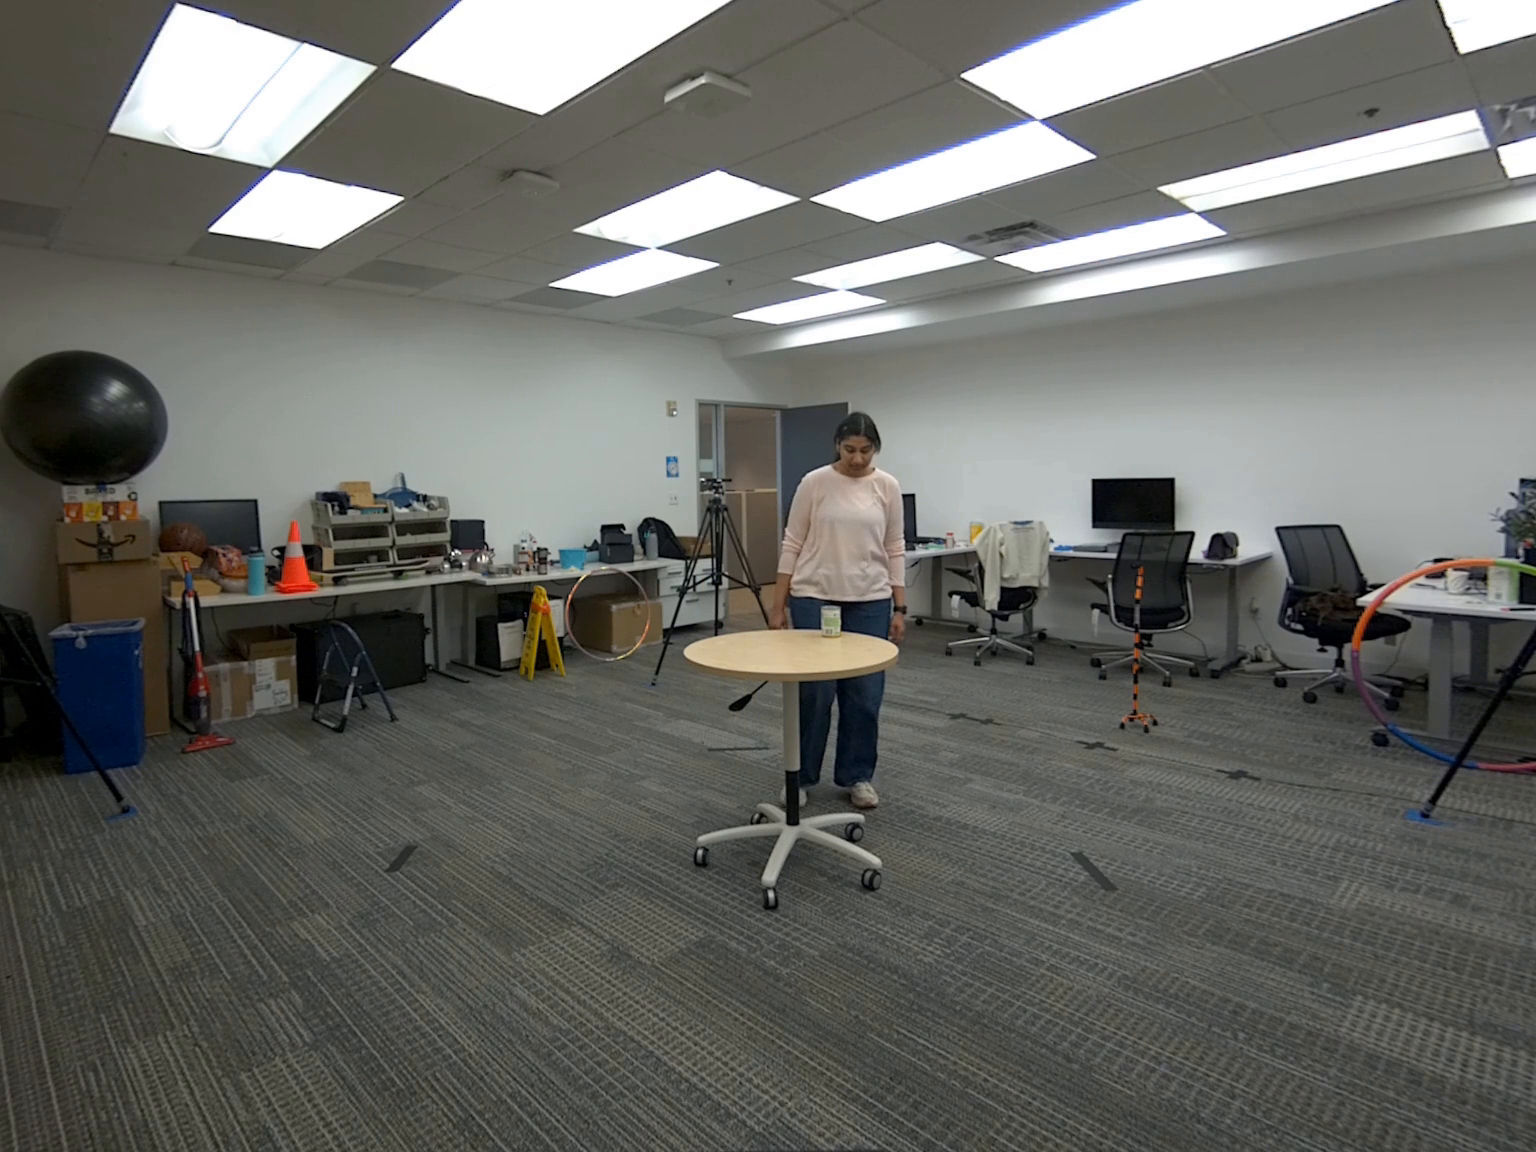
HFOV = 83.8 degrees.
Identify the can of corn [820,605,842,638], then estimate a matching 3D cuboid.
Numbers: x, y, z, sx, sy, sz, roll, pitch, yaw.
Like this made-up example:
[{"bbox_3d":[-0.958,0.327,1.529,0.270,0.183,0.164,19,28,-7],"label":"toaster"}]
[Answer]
[{"bbox_3d":[0.241,0.178,3.290,0.074,0.111,0.074,-2,3,-2],"label":"can of corn"}]
